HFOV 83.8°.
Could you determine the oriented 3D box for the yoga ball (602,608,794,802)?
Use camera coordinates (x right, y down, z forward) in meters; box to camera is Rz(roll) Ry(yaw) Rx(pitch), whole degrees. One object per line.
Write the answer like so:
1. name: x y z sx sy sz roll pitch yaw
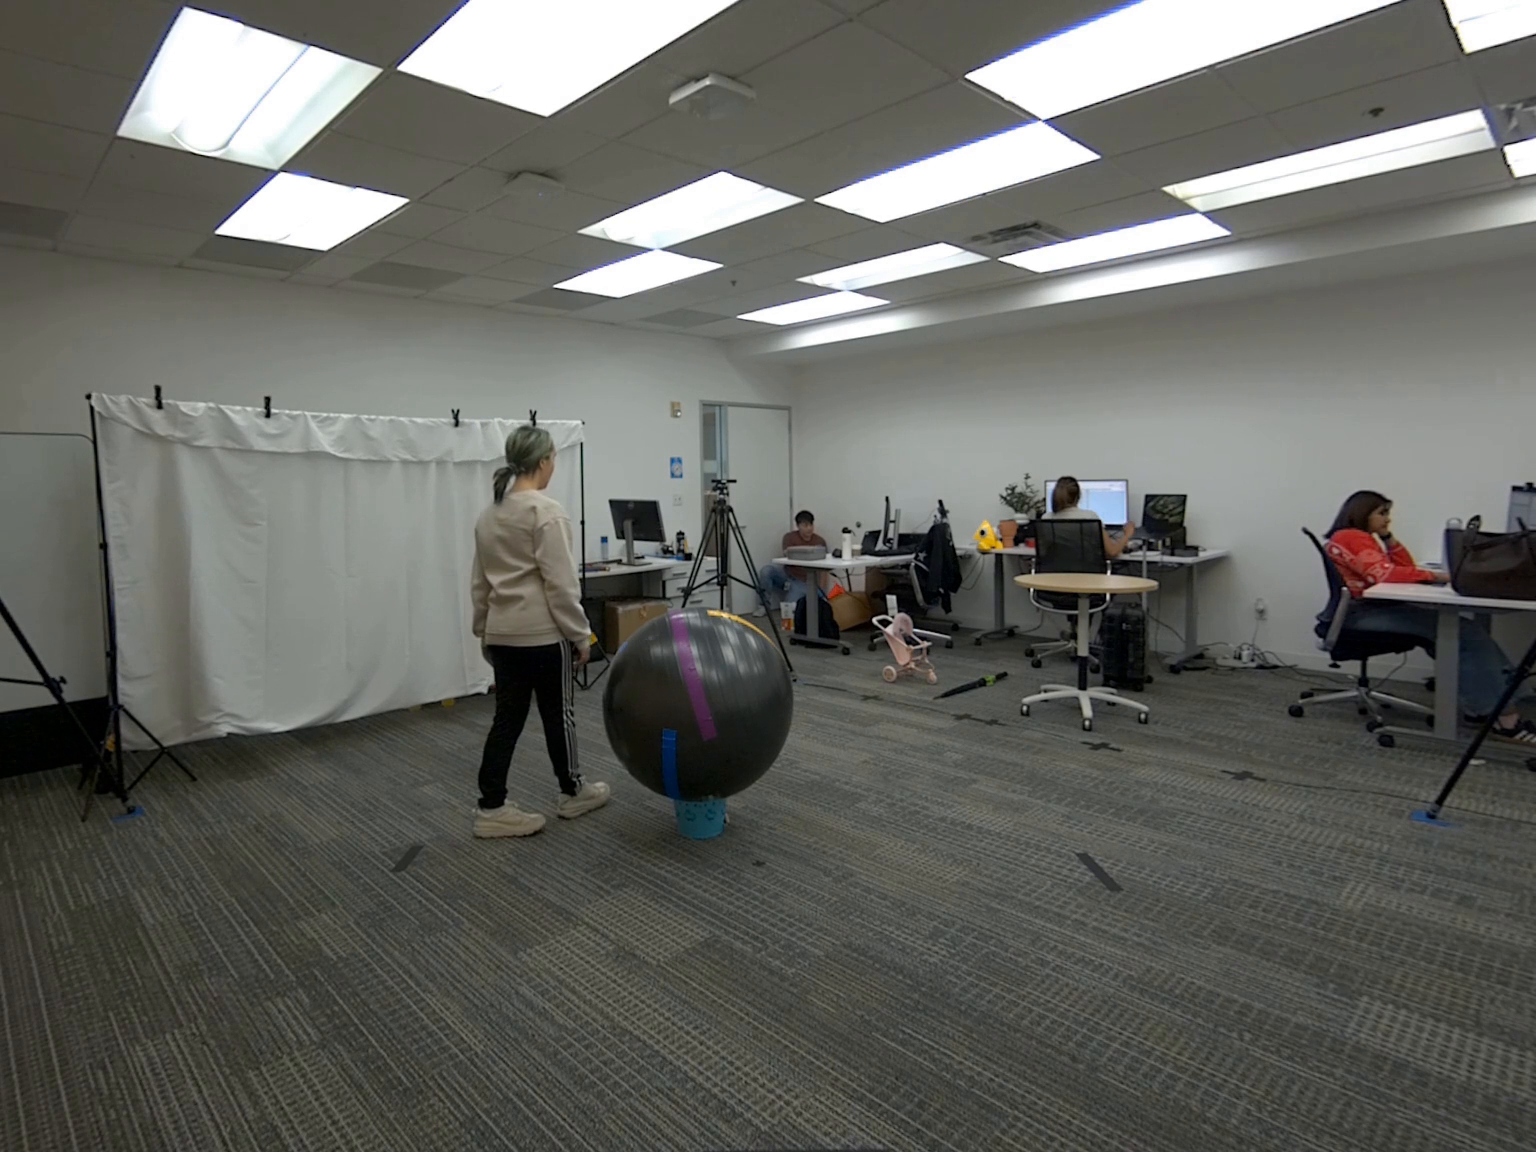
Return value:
1. yoga ball: -0.273 0.508 3.400 0.757 0.755 0.762 -1 5 -2
